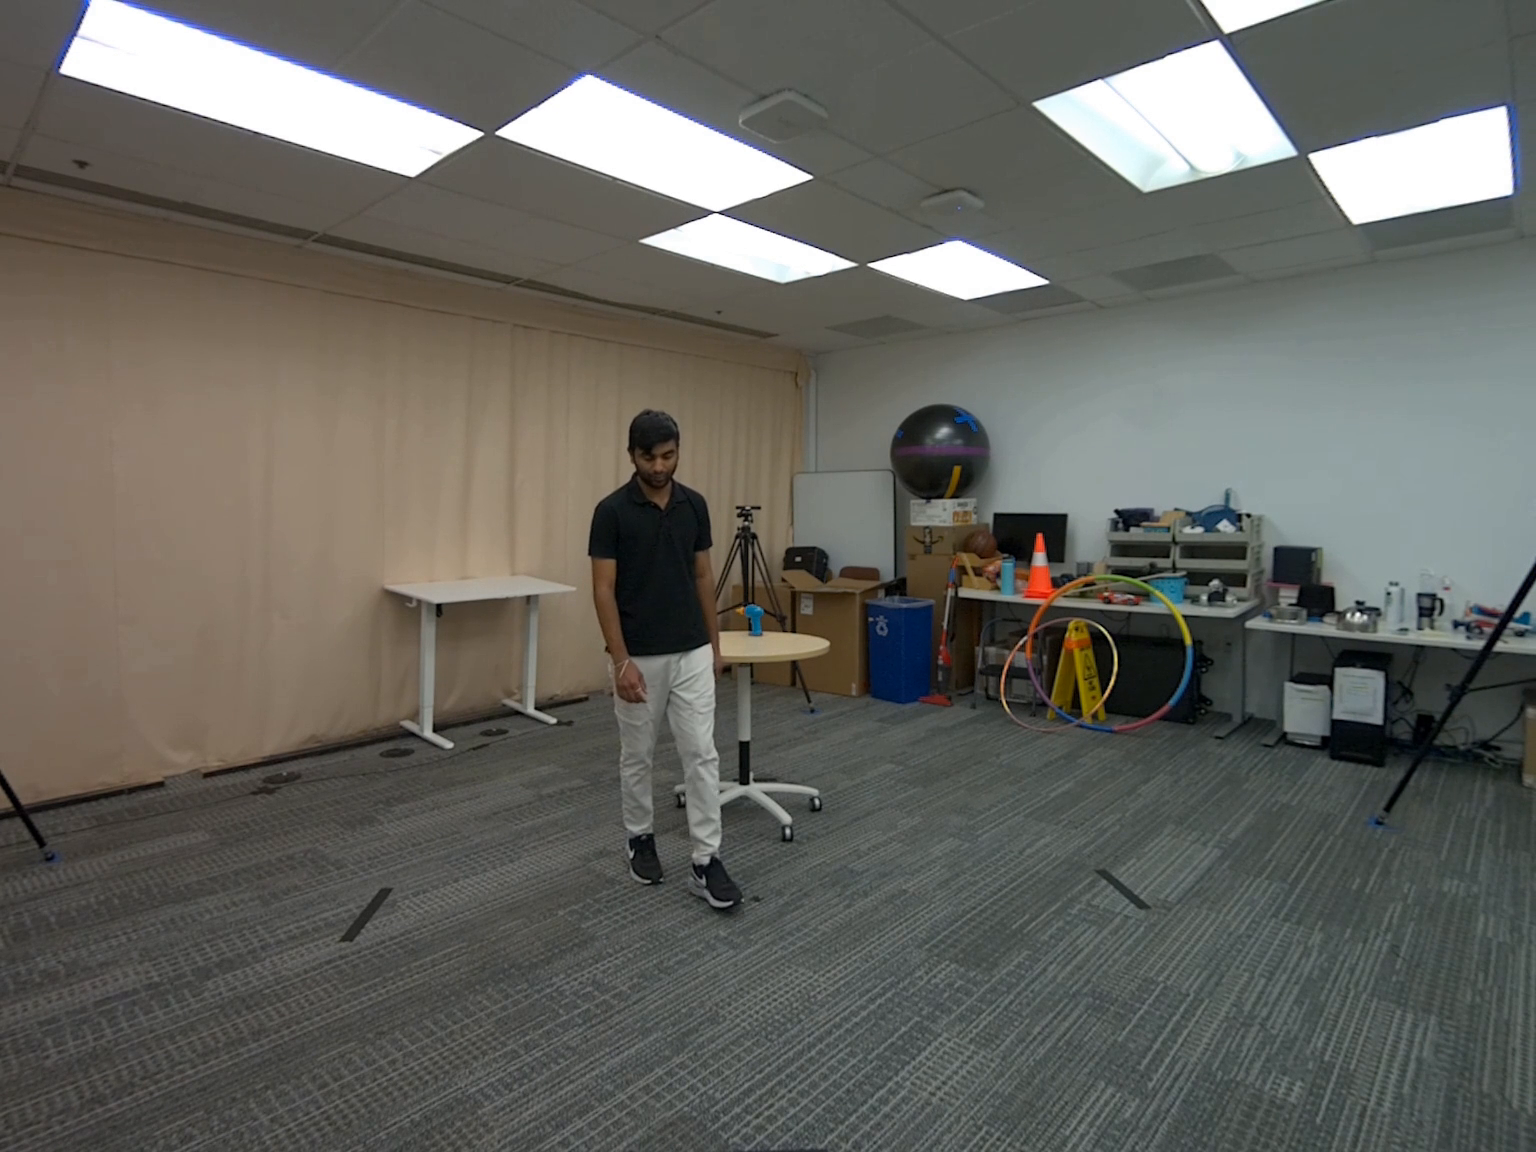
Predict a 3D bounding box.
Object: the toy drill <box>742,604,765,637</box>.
[{"bbox_3d":[-0.095,0.212,4.033,0.175,0.146,0.059,-1,4,33],"label":"toy drill"}]
